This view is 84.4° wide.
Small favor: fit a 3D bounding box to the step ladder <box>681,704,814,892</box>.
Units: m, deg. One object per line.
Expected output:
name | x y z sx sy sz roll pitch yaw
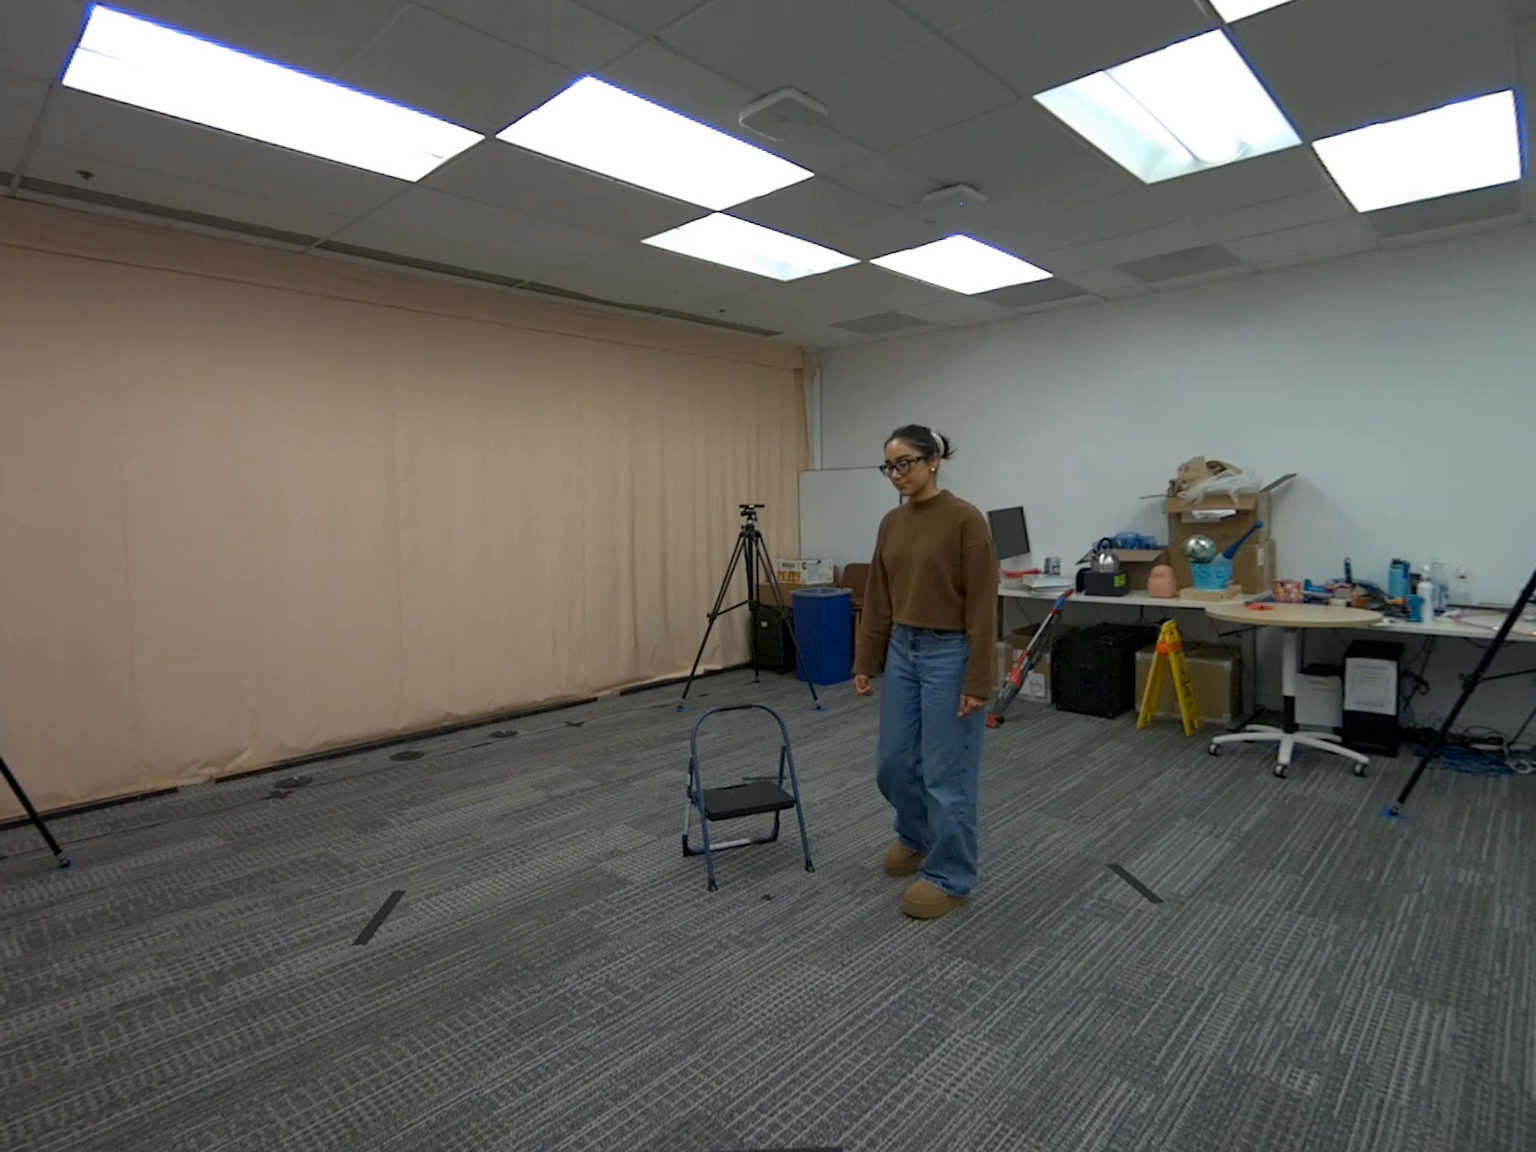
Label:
step ladder | -0.086 0.816 3.260 0.421 0.604 0.358 -3 4 -23
